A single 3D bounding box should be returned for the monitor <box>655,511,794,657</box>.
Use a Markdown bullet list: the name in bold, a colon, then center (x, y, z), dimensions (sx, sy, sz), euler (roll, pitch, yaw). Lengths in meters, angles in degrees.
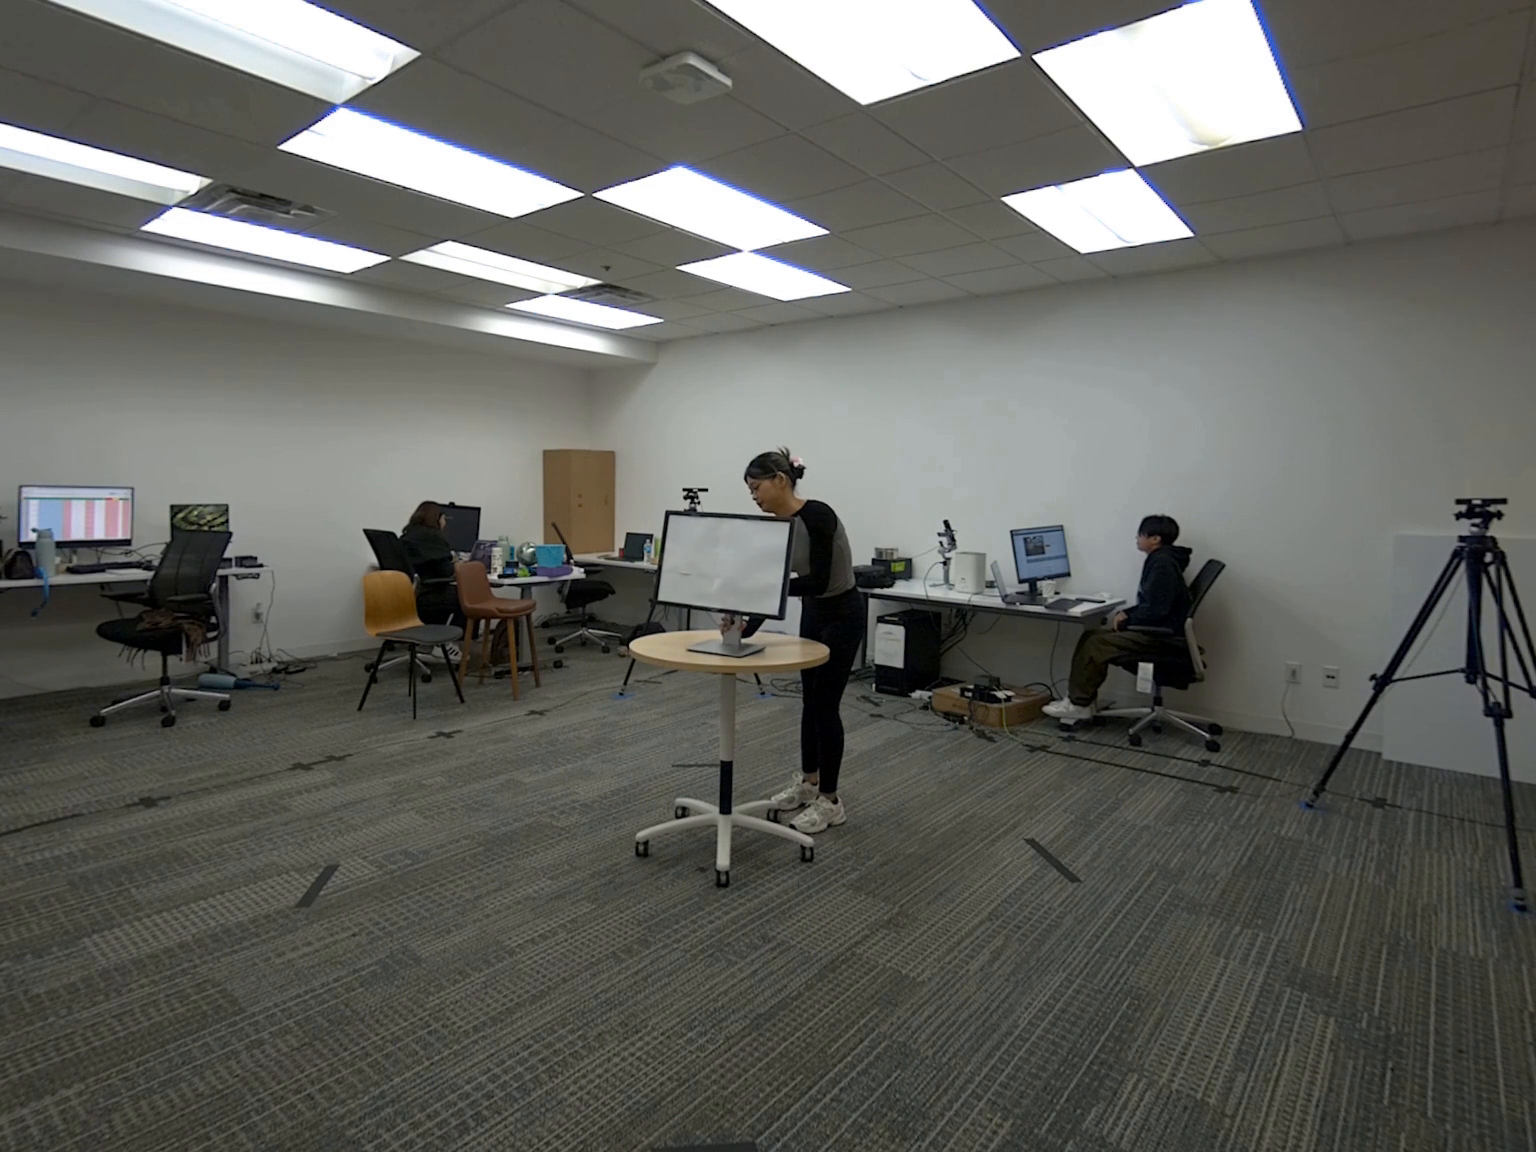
- **monitor**: center (-0.159, 0.028, 3.150), dimensions (0.555, 0.519, 0.183), euler (4, 8, 30)
